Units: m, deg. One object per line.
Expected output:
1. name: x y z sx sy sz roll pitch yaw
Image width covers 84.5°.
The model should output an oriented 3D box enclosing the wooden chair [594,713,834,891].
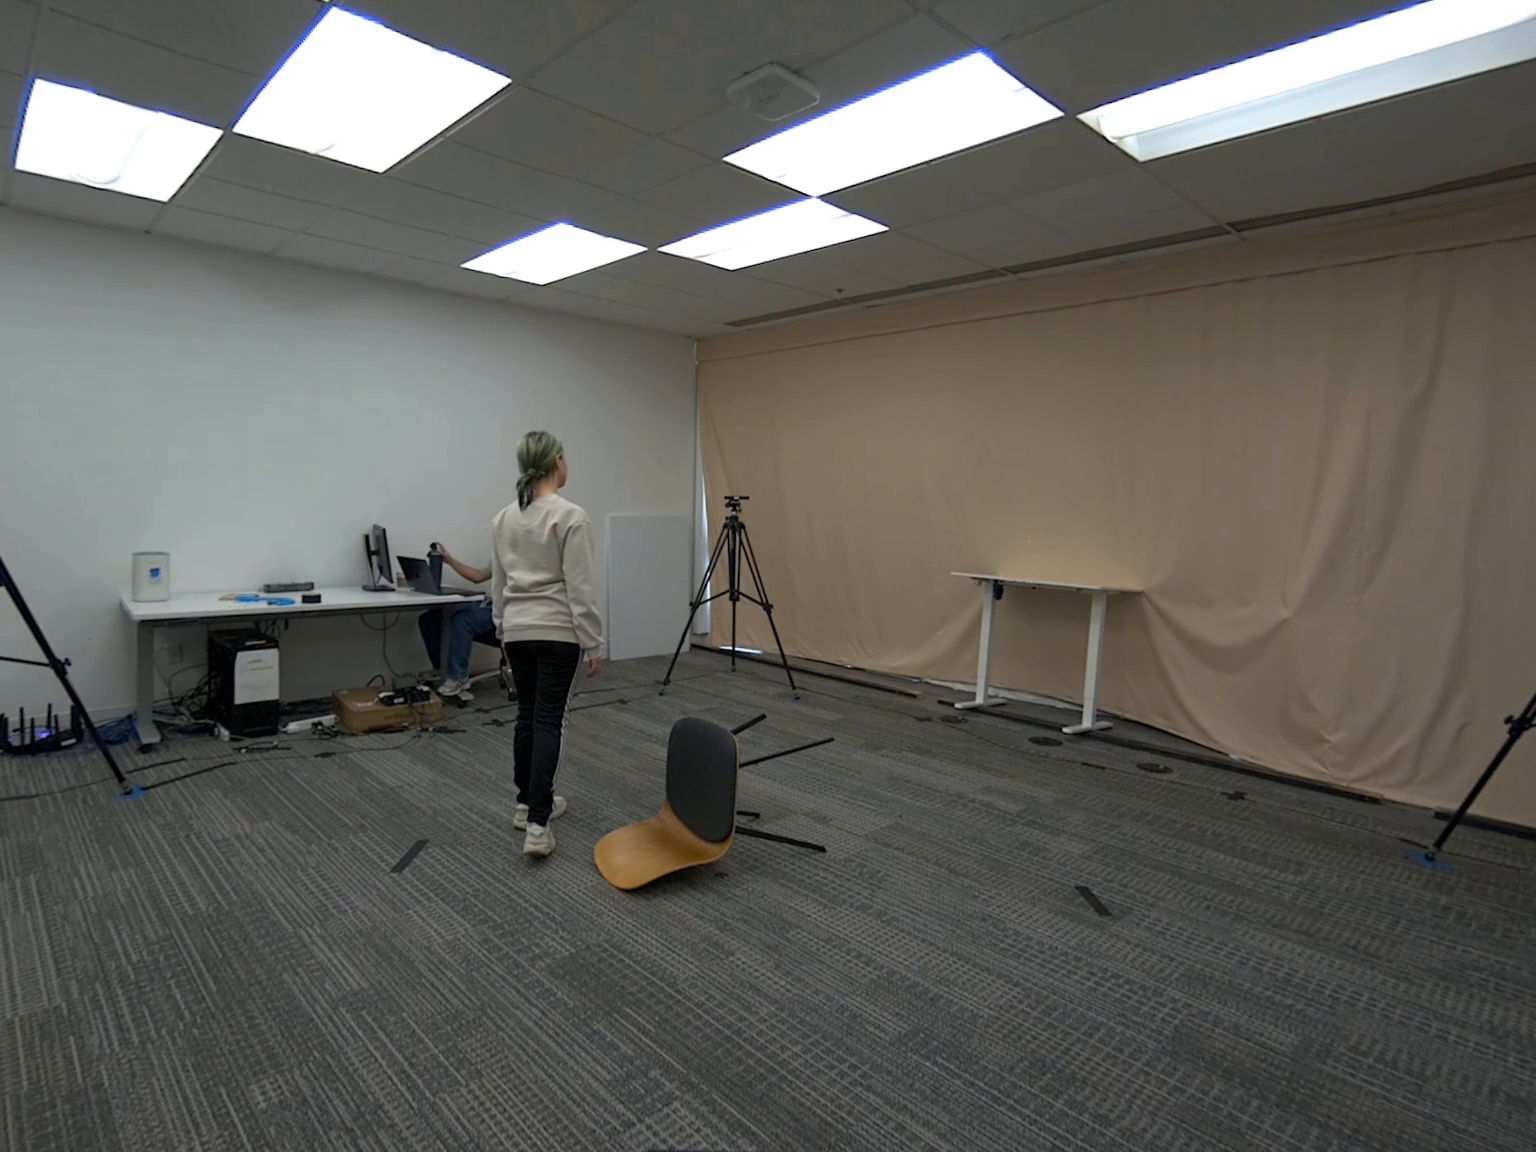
1. wooden chair: -0.233 0.830 3.263 0.858 0.521 0.490 -3 6 -36
